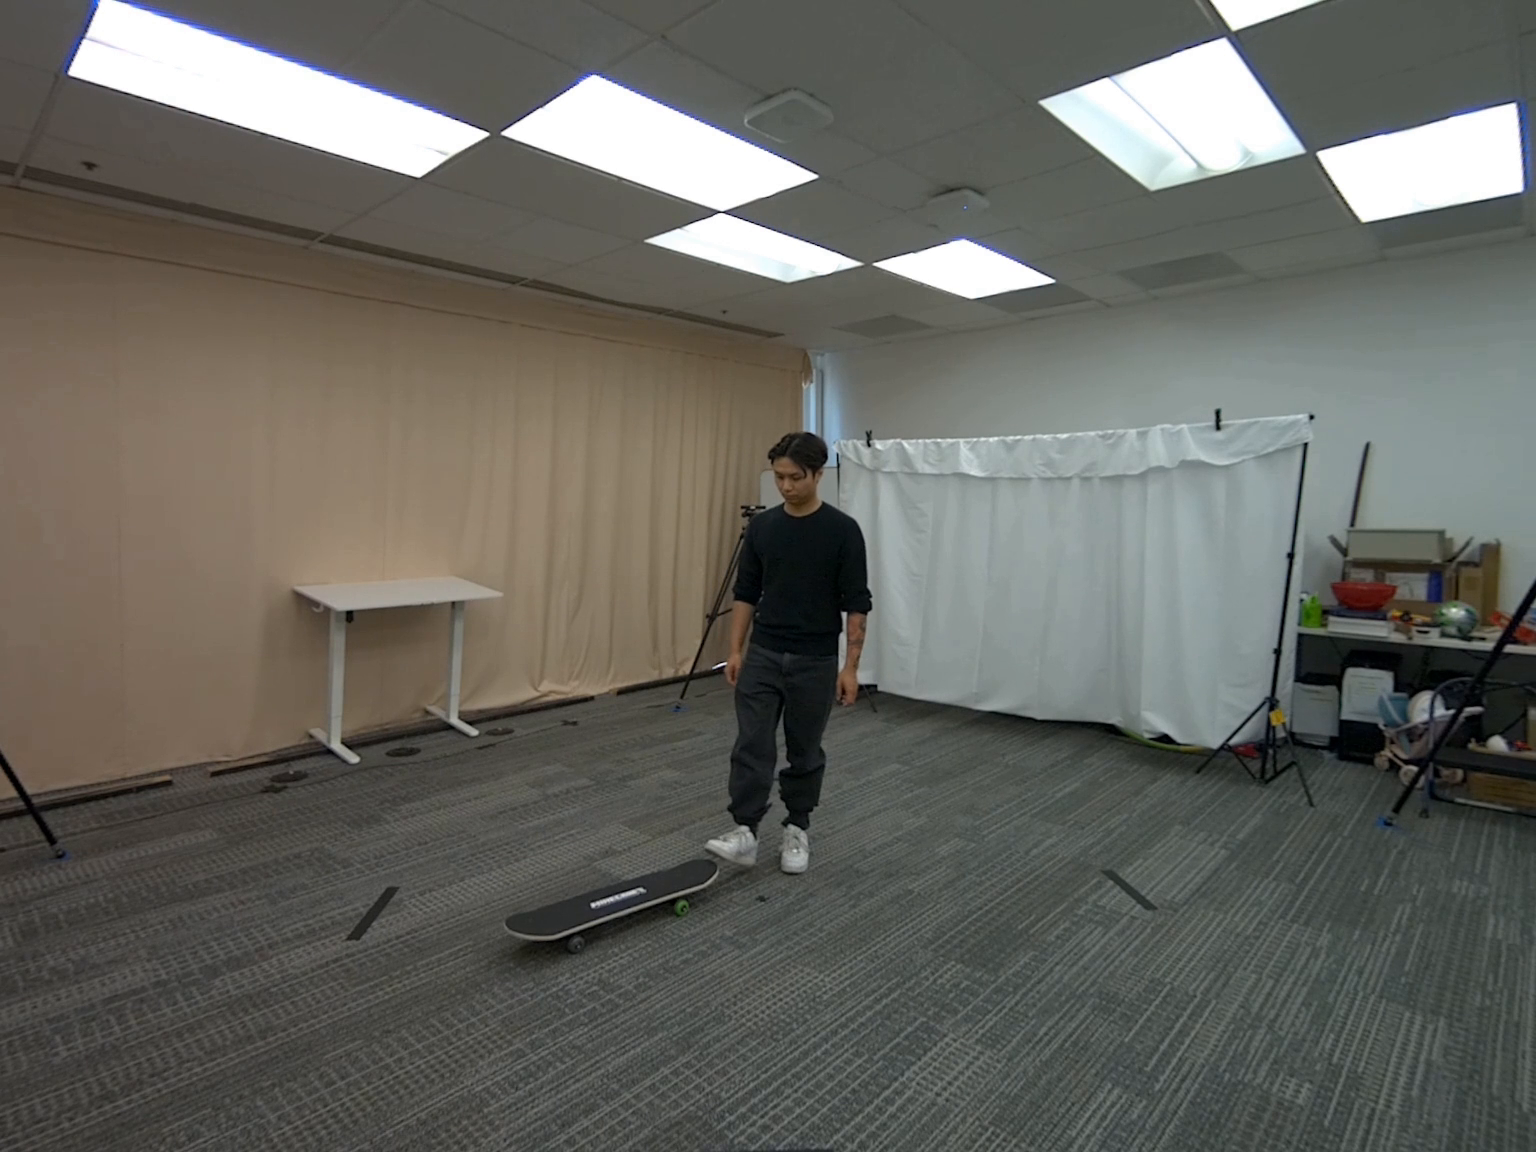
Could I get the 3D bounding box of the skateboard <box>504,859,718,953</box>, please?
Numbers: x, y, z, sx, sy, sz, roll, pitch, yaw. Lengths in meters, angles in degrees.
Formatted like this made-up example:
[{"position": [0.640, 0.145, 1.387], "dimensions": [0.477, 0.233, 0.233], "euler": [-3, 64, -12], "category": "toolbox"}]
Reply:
[{"position": [-0.501, 1.112, 2.799], "dimensions": [0.762, 0.110, 0.200], "euler": [-4, 5, -37], "category": "skateboard"}]
